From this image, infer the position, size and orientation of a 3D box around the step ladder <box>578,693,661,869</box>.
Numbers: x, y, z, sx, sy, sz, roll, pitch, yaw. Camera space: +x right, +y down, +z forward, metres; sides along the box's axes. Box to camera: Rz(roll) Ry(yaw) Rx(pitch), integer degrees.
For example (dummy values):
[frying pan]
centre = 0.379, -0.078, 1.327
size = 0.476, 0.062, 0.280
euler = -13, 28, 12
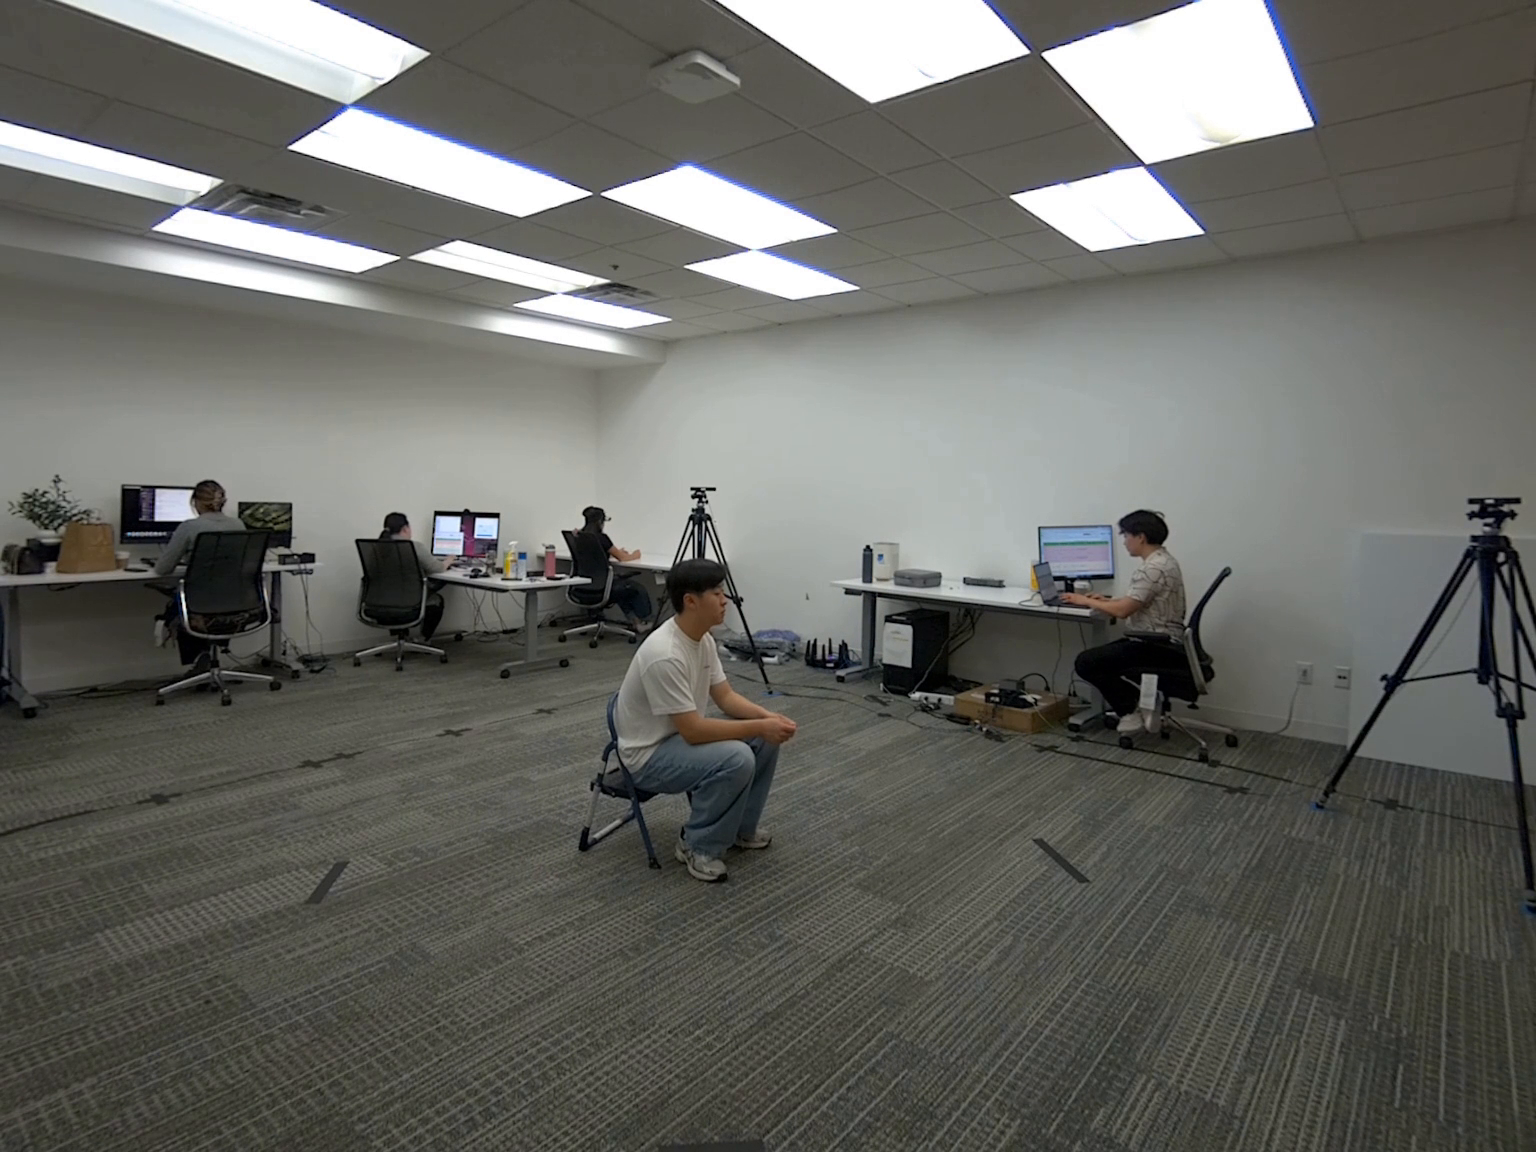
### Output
[step ladder]
centre = -0.501, 0.739, 3.348
size = 0.357, 0.605, 0.421
euler = 2, 3, 22
